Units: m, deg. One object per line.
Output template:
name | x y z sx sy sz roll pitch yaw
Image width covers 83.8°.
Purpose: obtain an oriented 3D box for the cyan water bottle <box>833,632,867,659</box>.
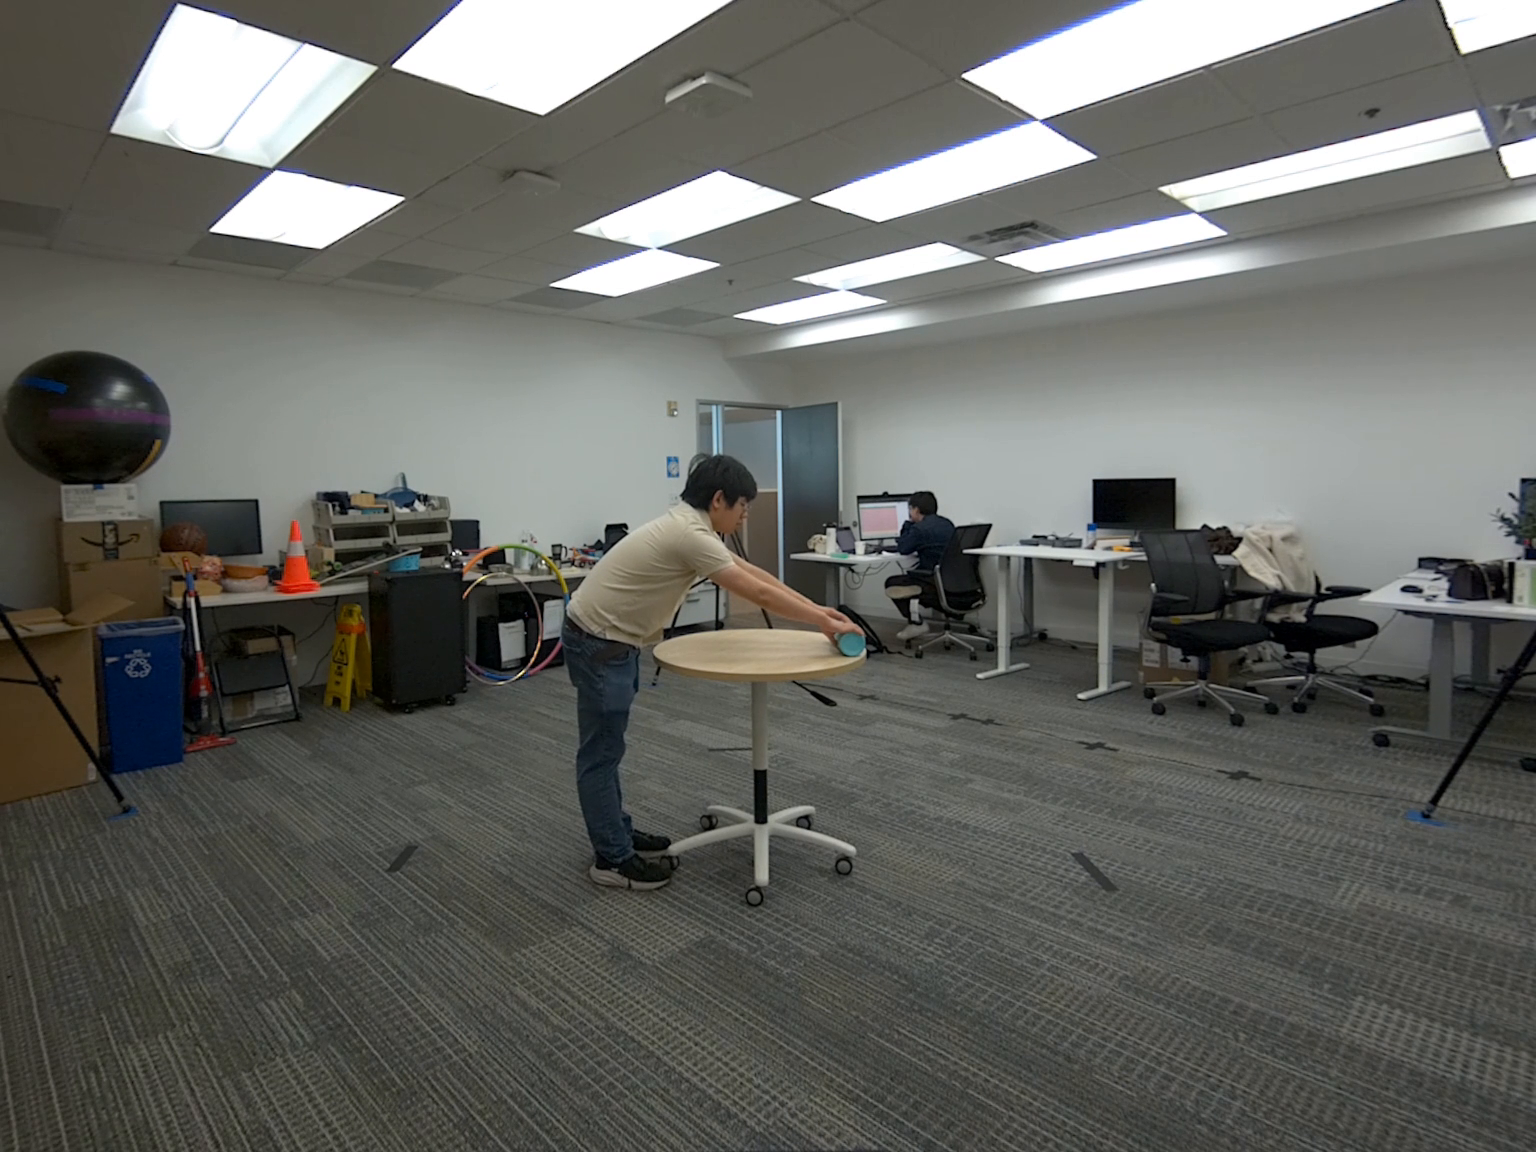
cyan water bottle | 0.275 0.219 3.070 0.092 0.092 0.285 -1 6 -2
